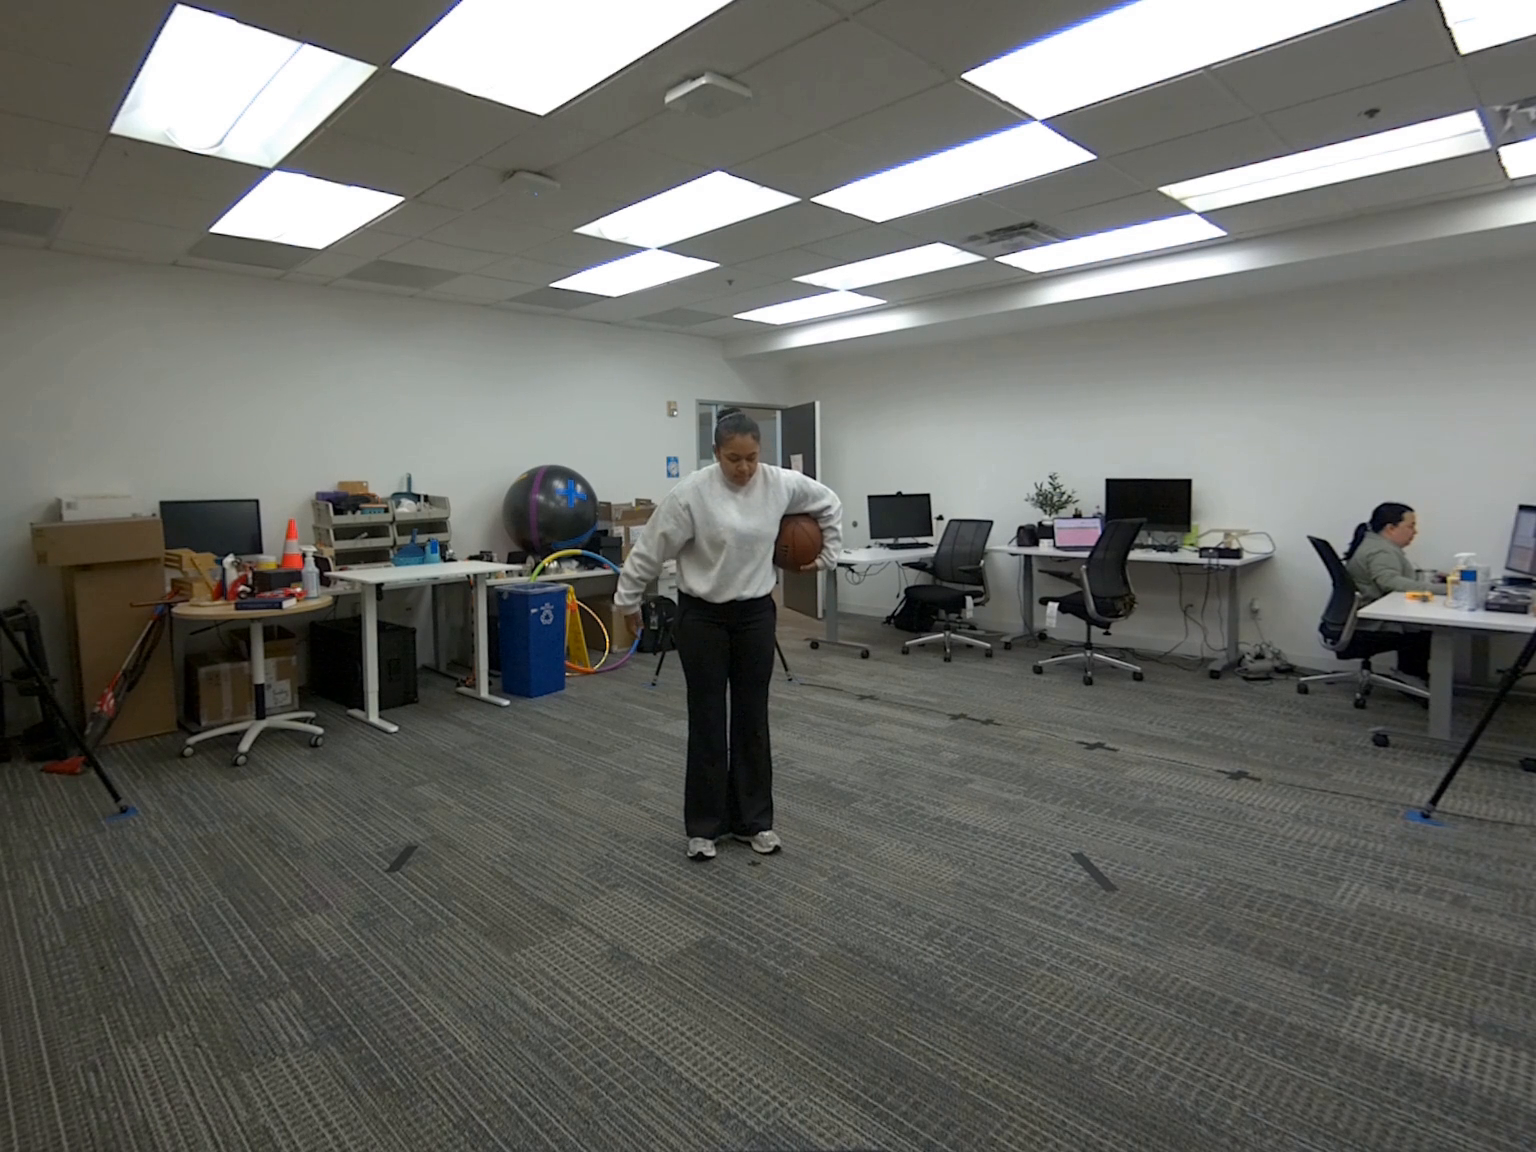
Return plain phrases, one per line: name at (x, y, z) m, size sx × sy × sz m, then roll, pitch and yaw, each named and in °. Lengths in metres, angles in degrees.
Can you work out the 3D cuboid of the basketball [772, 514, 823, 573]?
basketball at (0.094, -0.144, 3.334) m, size 0.236 × 0.235 × 0.237 m, roll -1°, pitch 5°, yaw -2°
